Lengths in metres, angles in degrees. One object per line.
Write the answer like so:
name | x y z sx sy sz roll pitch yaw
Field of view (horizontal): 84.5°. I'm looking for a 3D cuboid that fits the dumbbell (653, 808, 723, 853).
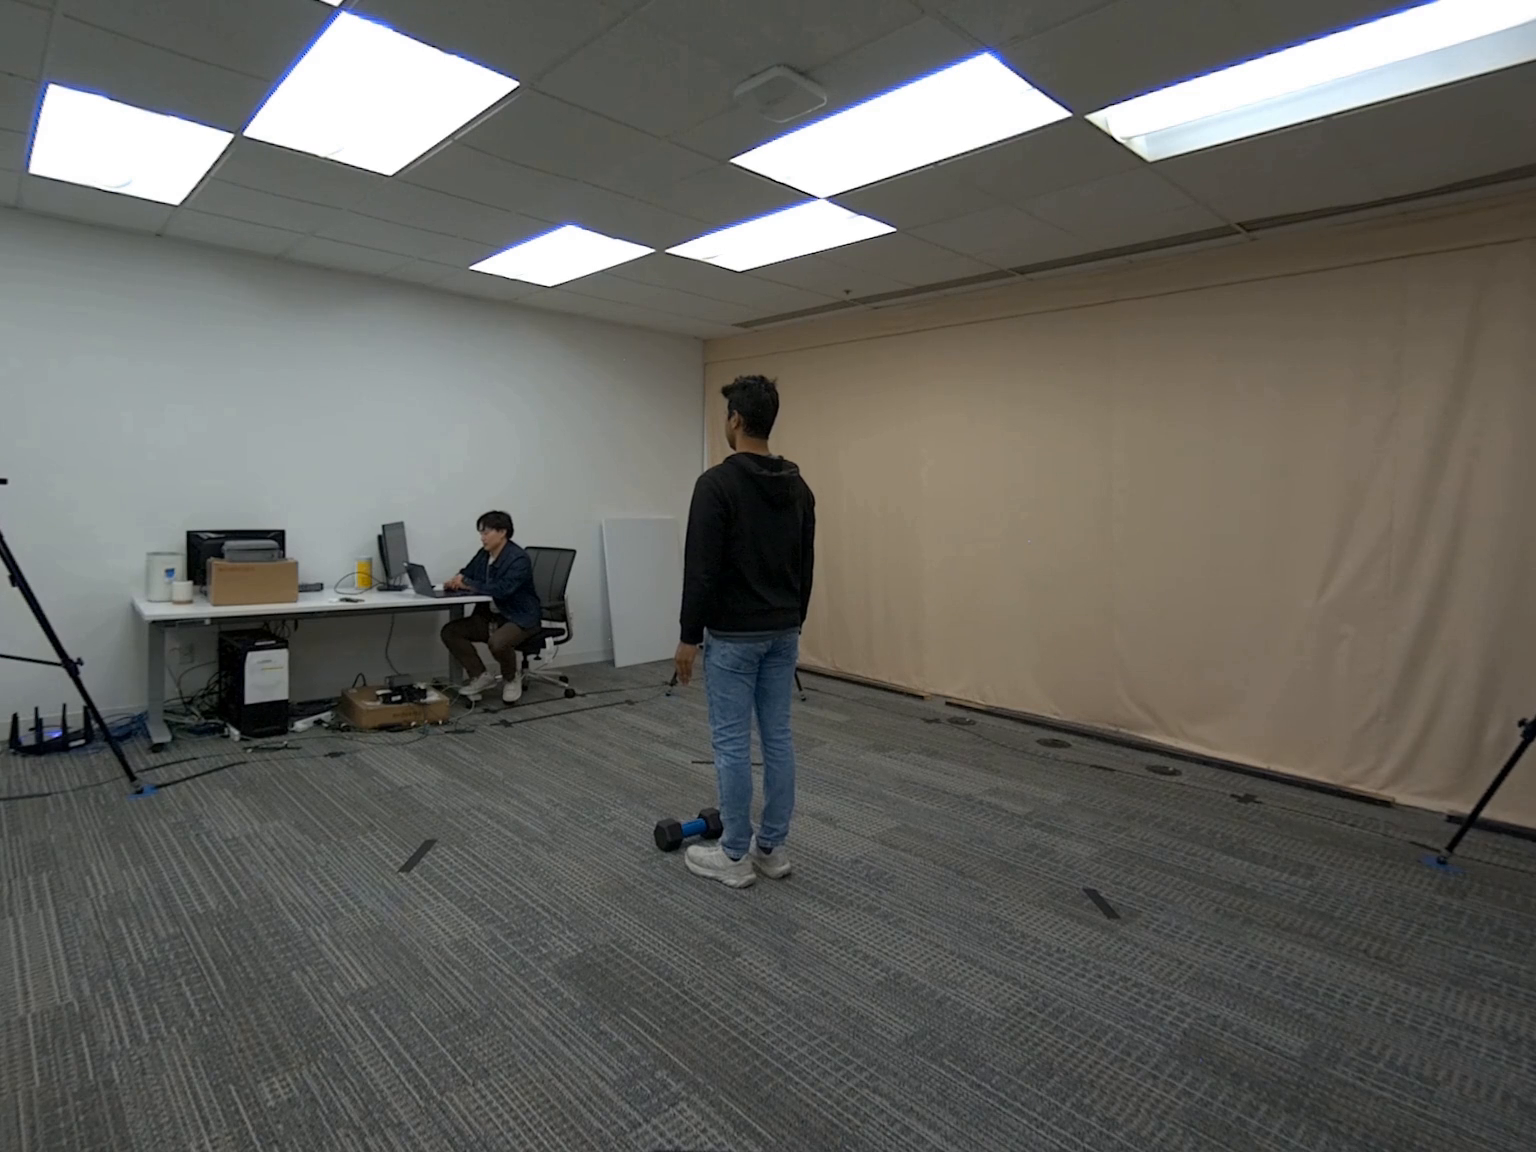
dumbbell | -0.325 1.023 3.400 0.287 0.125 0.109 -3 -26 -40
